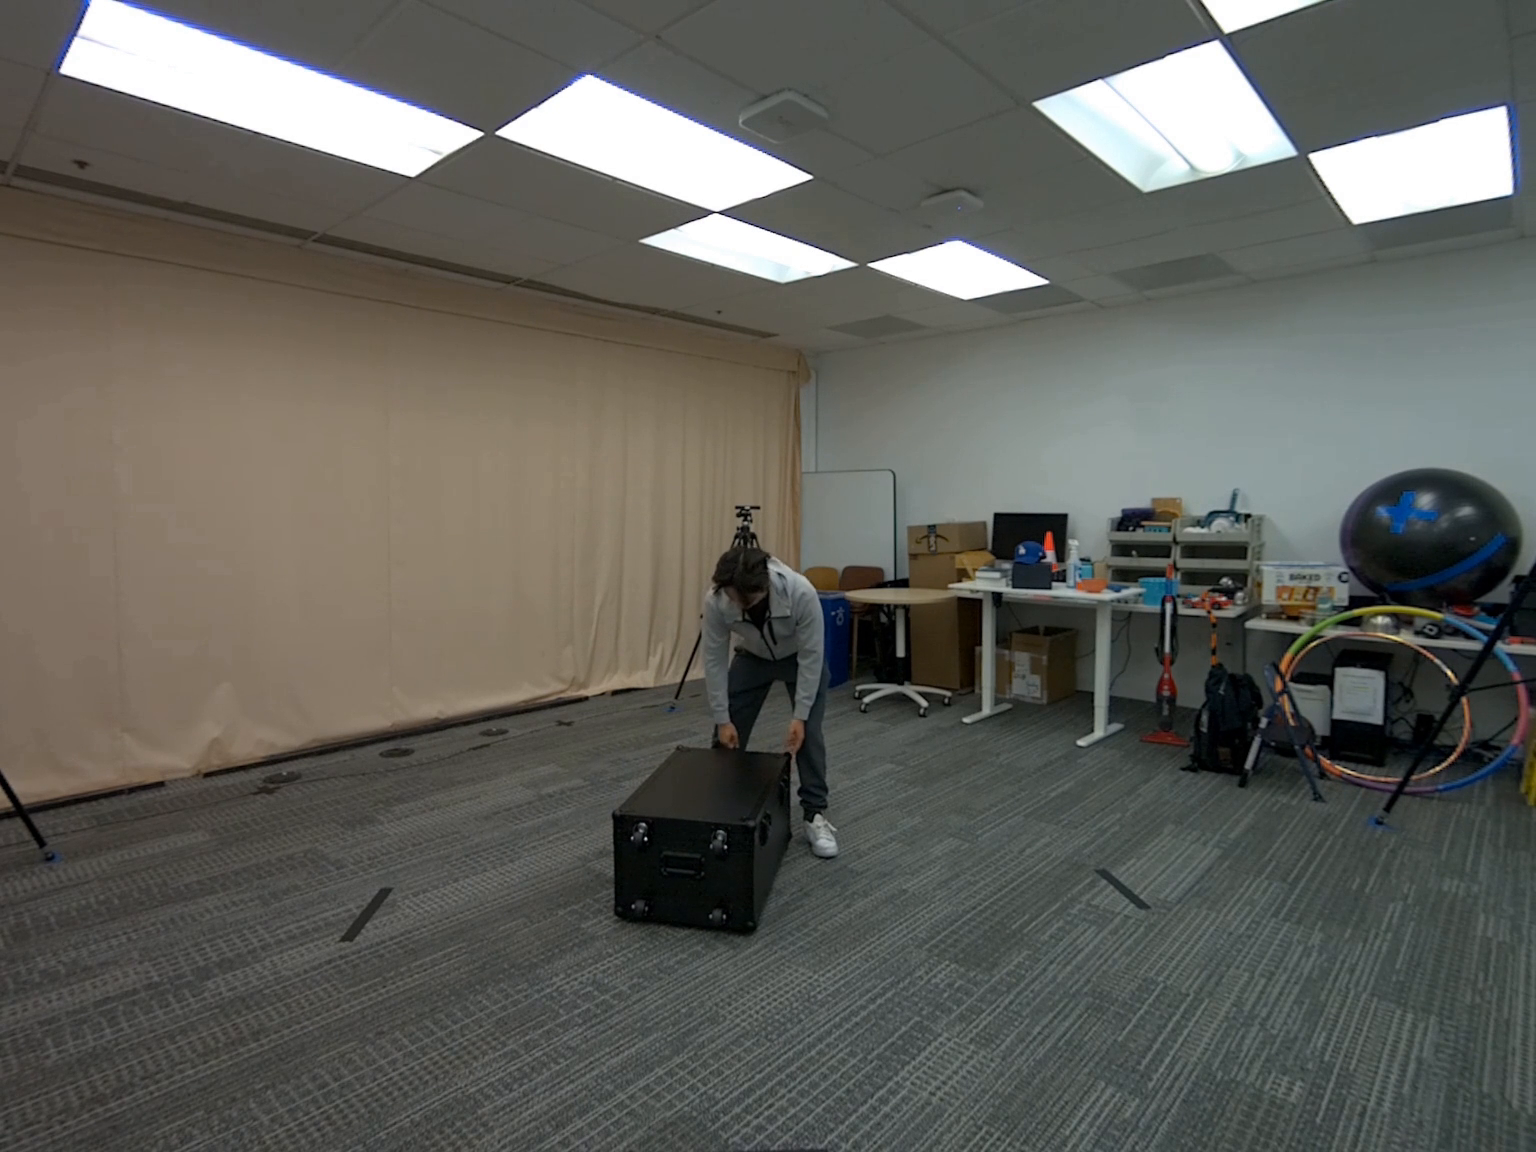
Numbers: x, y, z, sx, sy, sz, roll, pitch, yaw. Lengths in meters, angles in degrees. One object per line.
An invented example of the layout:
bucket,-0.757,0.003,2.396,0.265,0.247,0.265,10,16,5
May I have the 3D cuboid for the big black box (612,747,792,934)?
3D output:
big black box,-0.219,0.939,3.097,0.528,0.395,0.851,0,4,11
